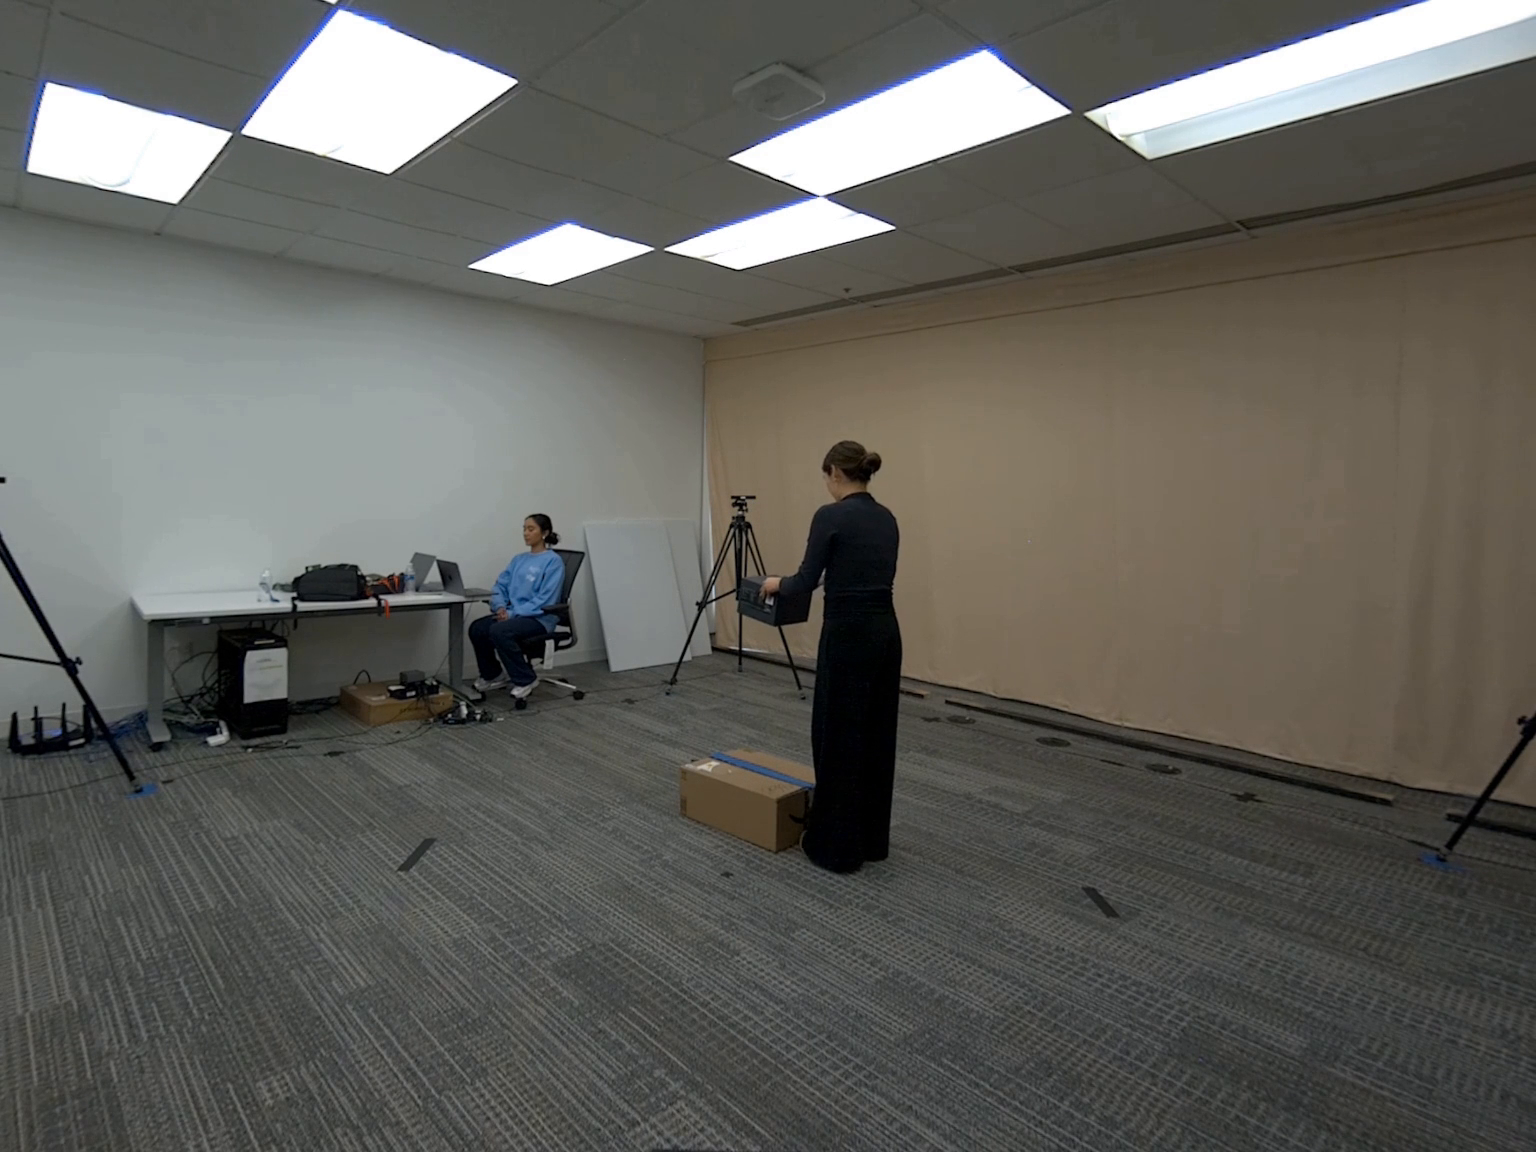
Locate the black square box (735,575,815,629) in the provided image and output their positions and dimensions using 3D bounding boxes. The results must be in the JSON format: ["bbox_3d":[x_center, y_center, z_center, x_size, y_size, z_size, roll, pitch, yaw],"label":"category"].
[{"bbox_3d":[0.027,0.104,3.585,0.223,0.155,0.223,18,14,40],"label":"black square box"}]
